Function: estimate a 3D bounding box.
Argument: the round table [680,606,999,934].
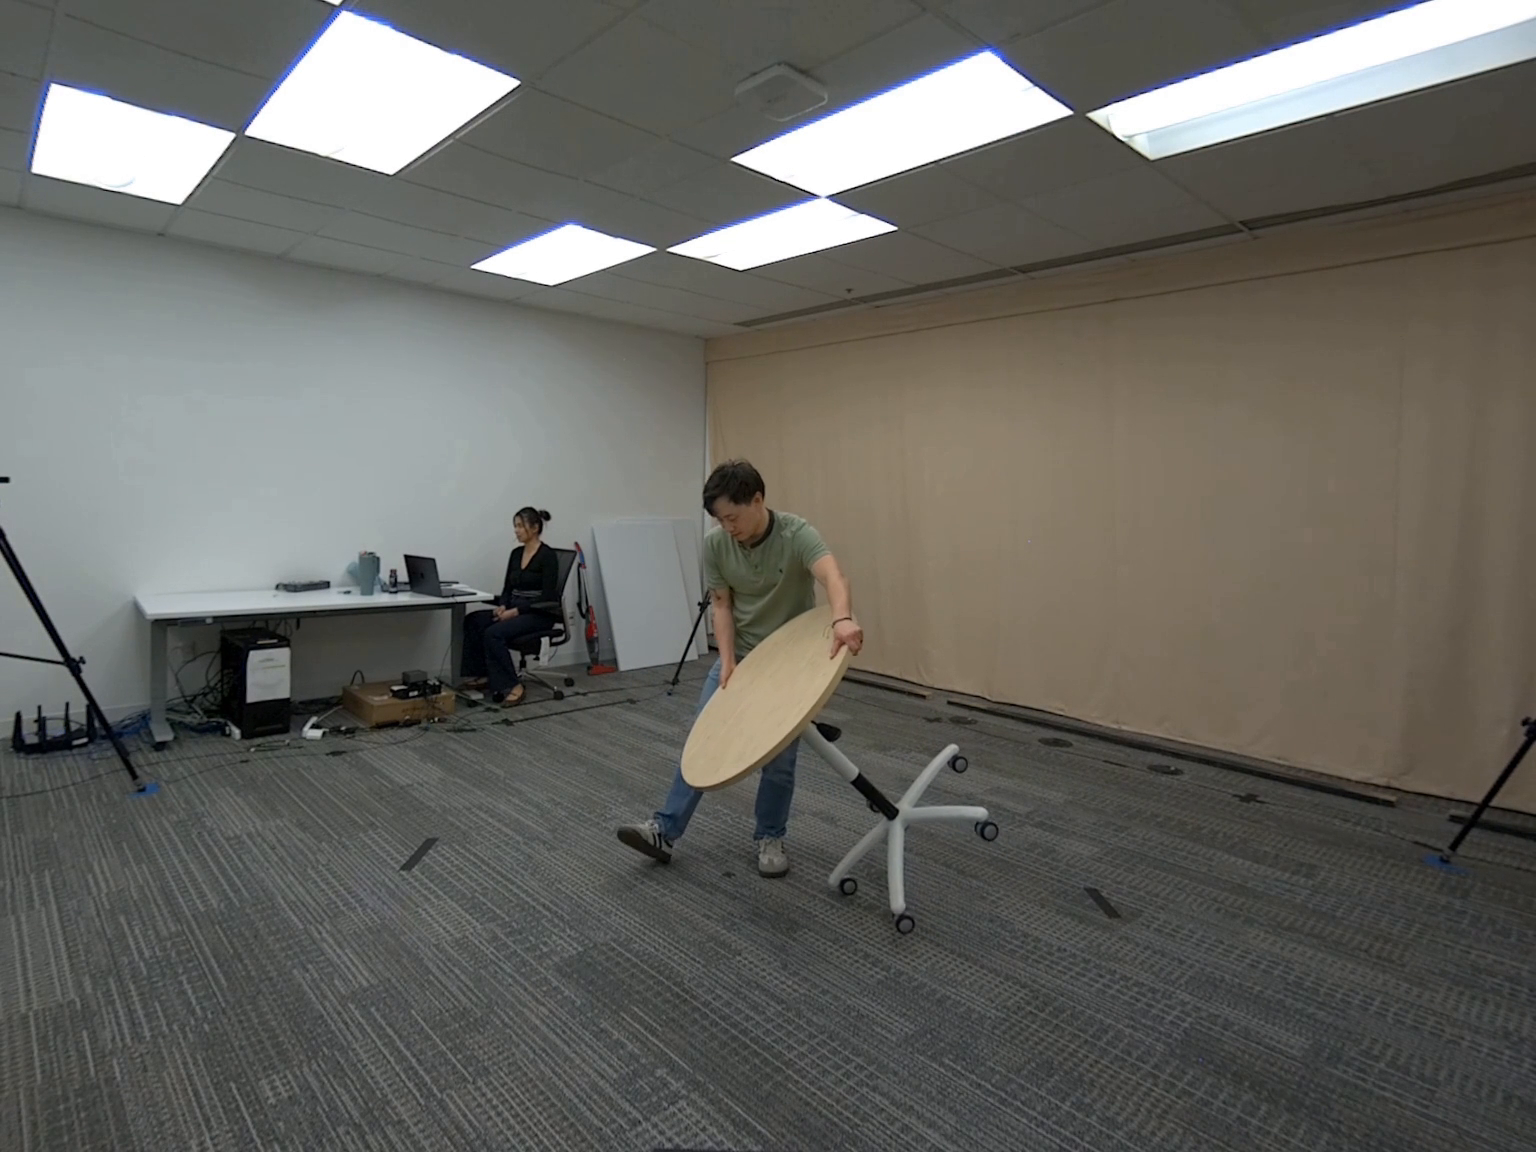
[{"bbox_3d":[0.258,0.645,2.834,0.783,0.764,0.775,45,-7,-14],"label":"round table"}]
